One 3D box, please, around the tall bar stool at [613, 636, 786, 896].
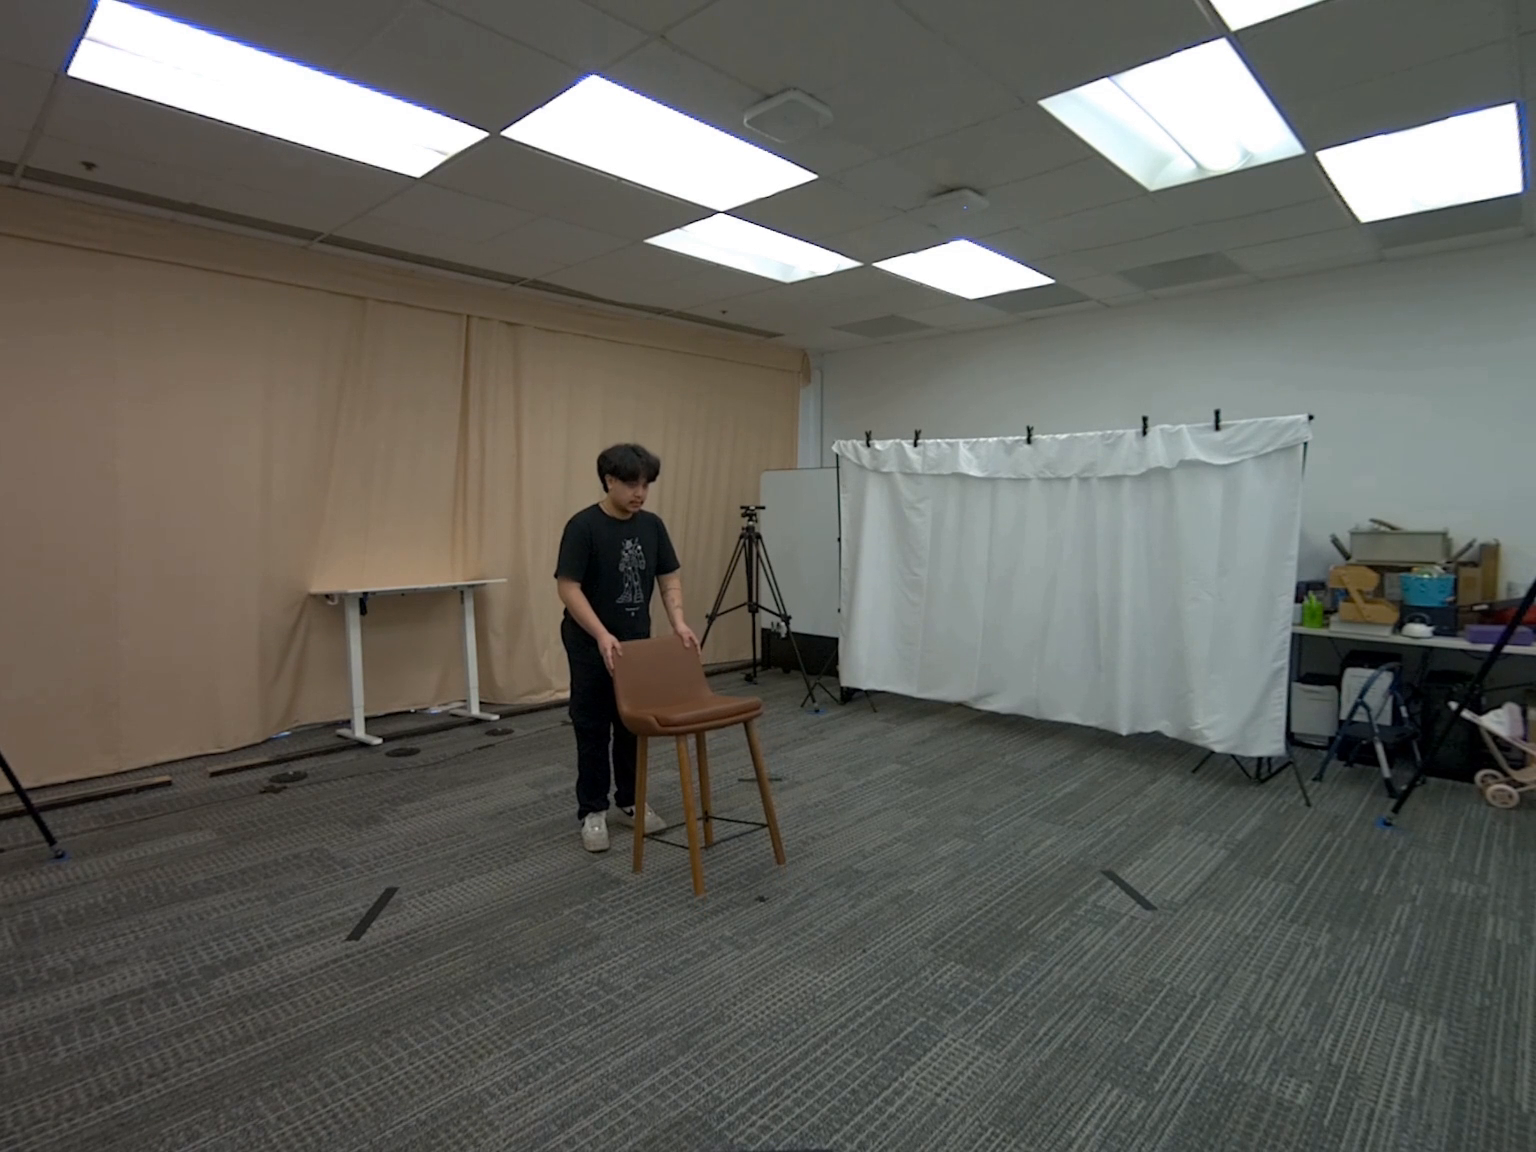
[{"bbox_3d":[-0.285,0.666,3.192,0.443,0.894,0.480,-4,-7,-39],"label":"tall bar stool"}]
